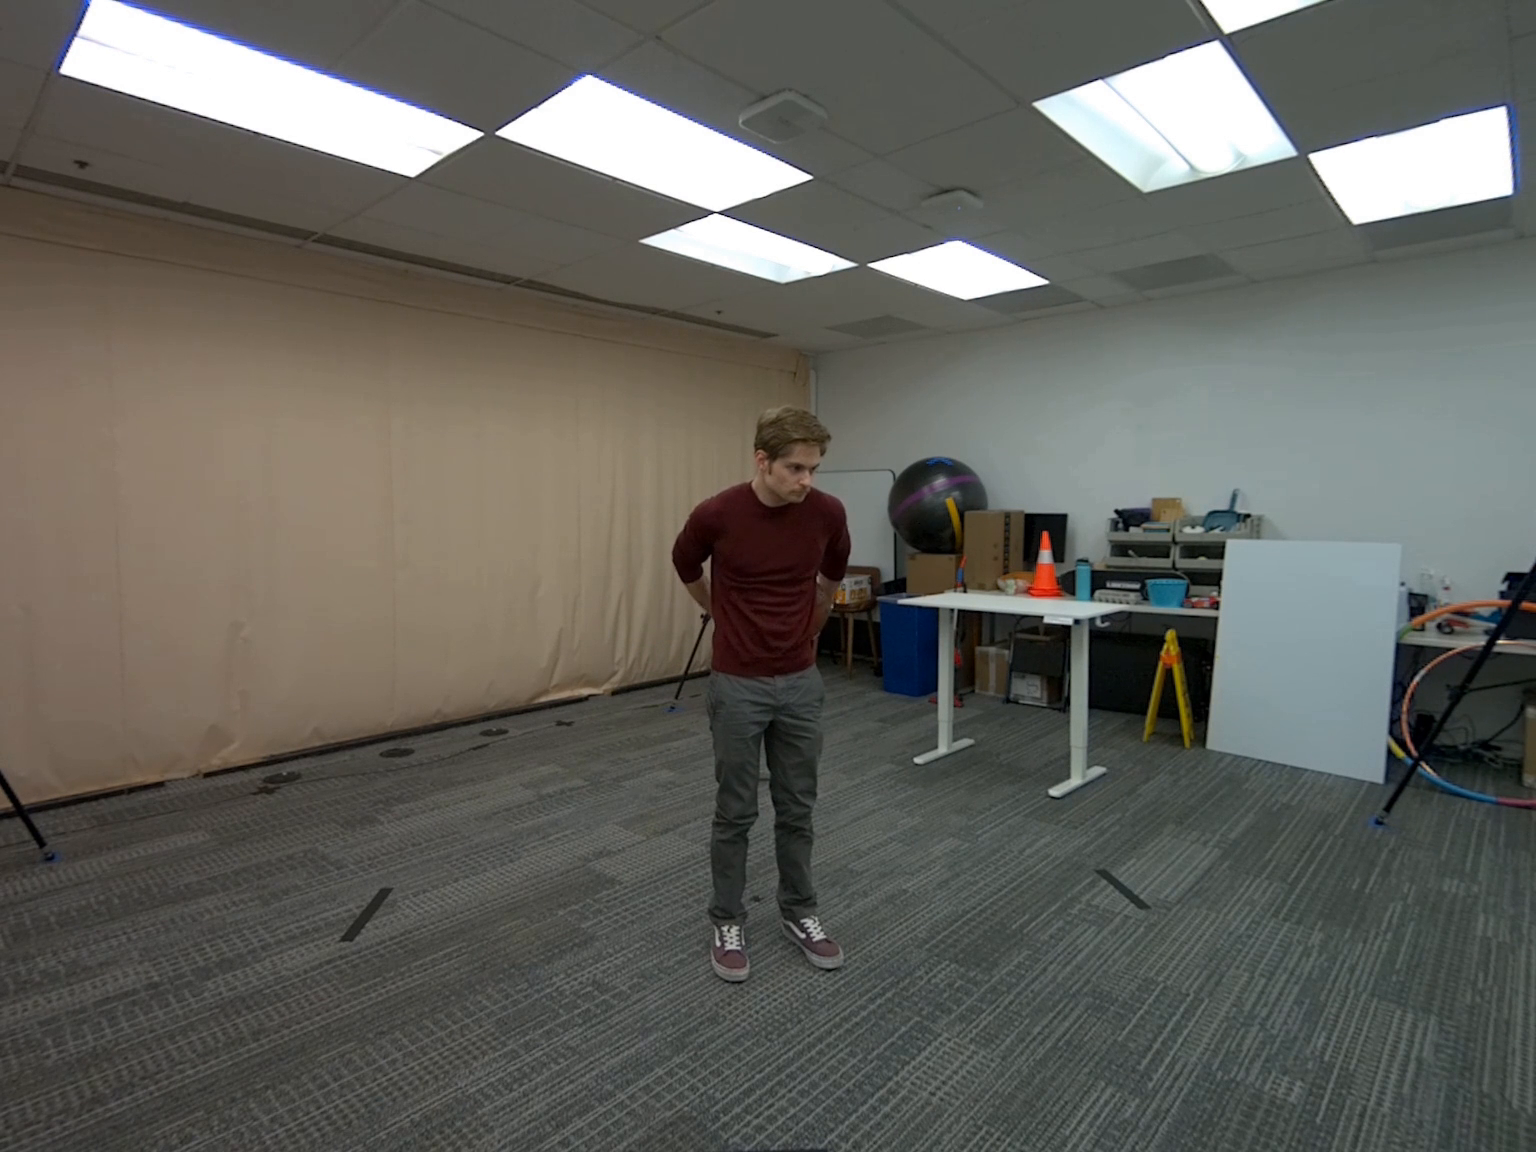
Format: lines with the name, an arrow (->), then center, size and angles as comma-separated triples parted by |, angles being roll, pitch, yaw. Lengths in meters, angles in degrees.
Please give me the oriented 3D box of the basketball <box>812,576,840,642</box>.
basketball -> 0.080, 0.108, 2.804 | 0.236, 0.235, 0.237 | 0, 4, -2
